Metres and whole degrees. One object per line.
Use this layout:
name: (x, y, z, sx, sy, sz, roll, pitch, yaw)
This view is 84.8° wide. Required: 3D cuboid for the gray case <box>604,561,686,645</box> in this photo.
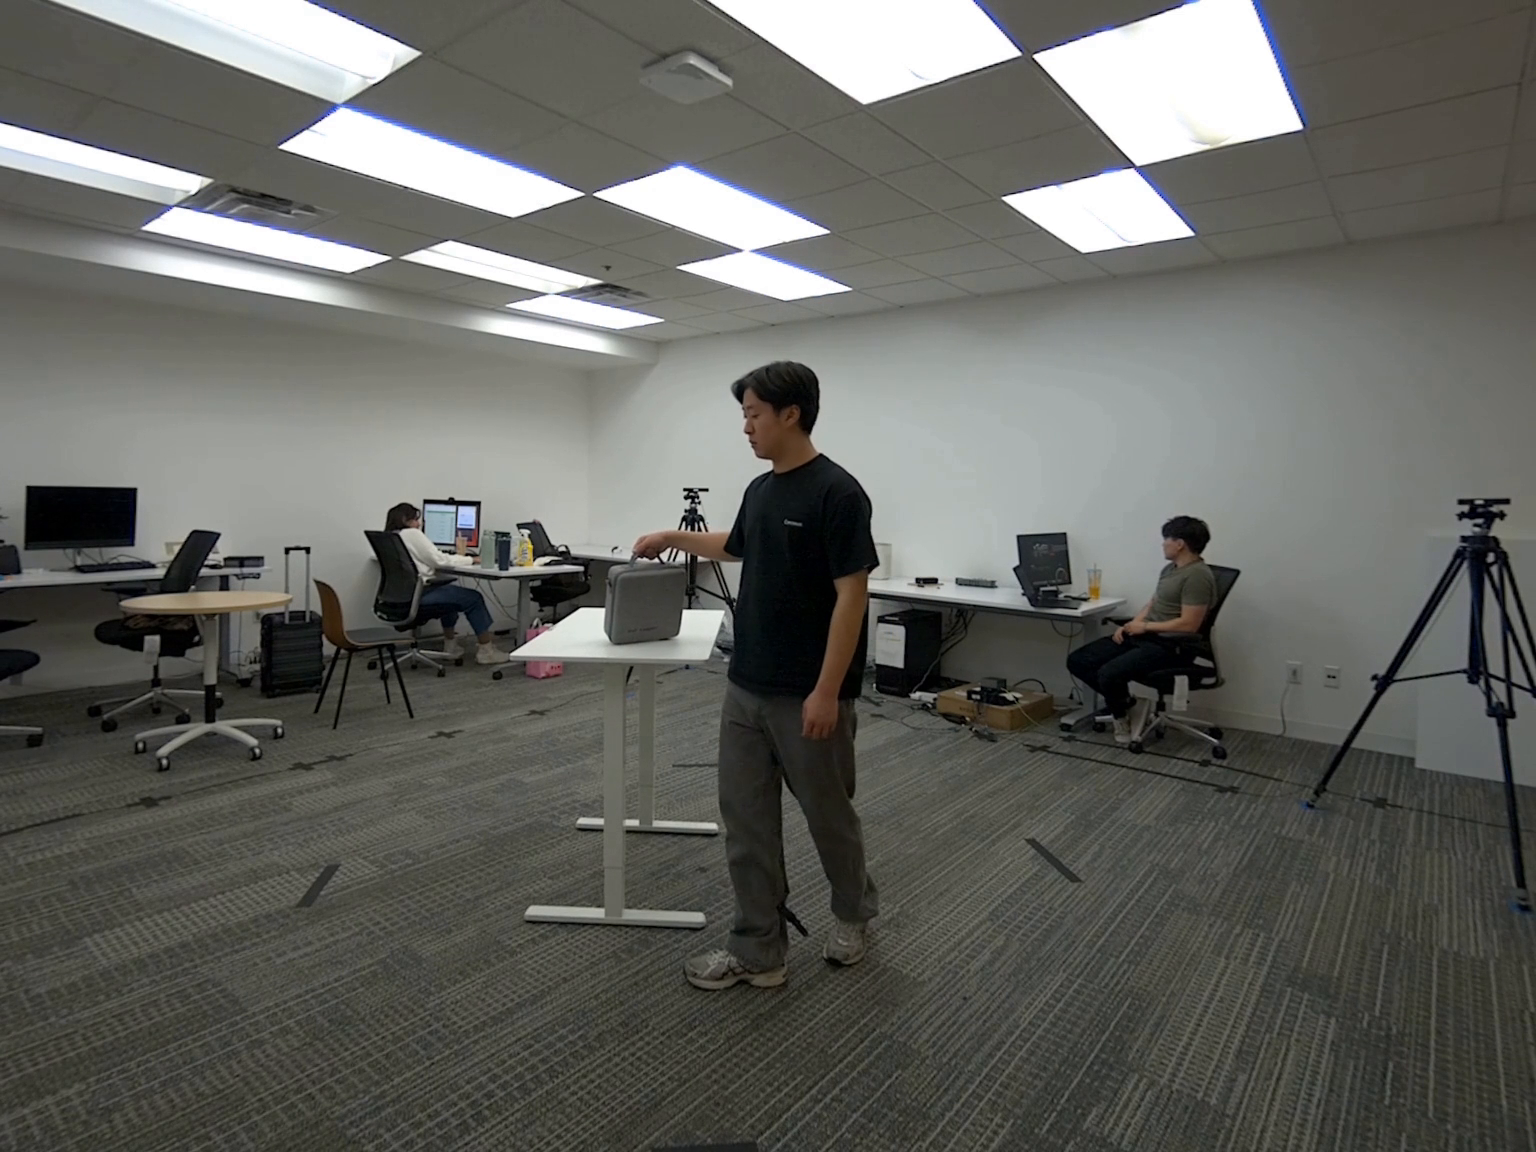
gray case: (-0.414, 0.073, 2.792, 0.256, 0.283, 0.107, -4, 19, -31)
